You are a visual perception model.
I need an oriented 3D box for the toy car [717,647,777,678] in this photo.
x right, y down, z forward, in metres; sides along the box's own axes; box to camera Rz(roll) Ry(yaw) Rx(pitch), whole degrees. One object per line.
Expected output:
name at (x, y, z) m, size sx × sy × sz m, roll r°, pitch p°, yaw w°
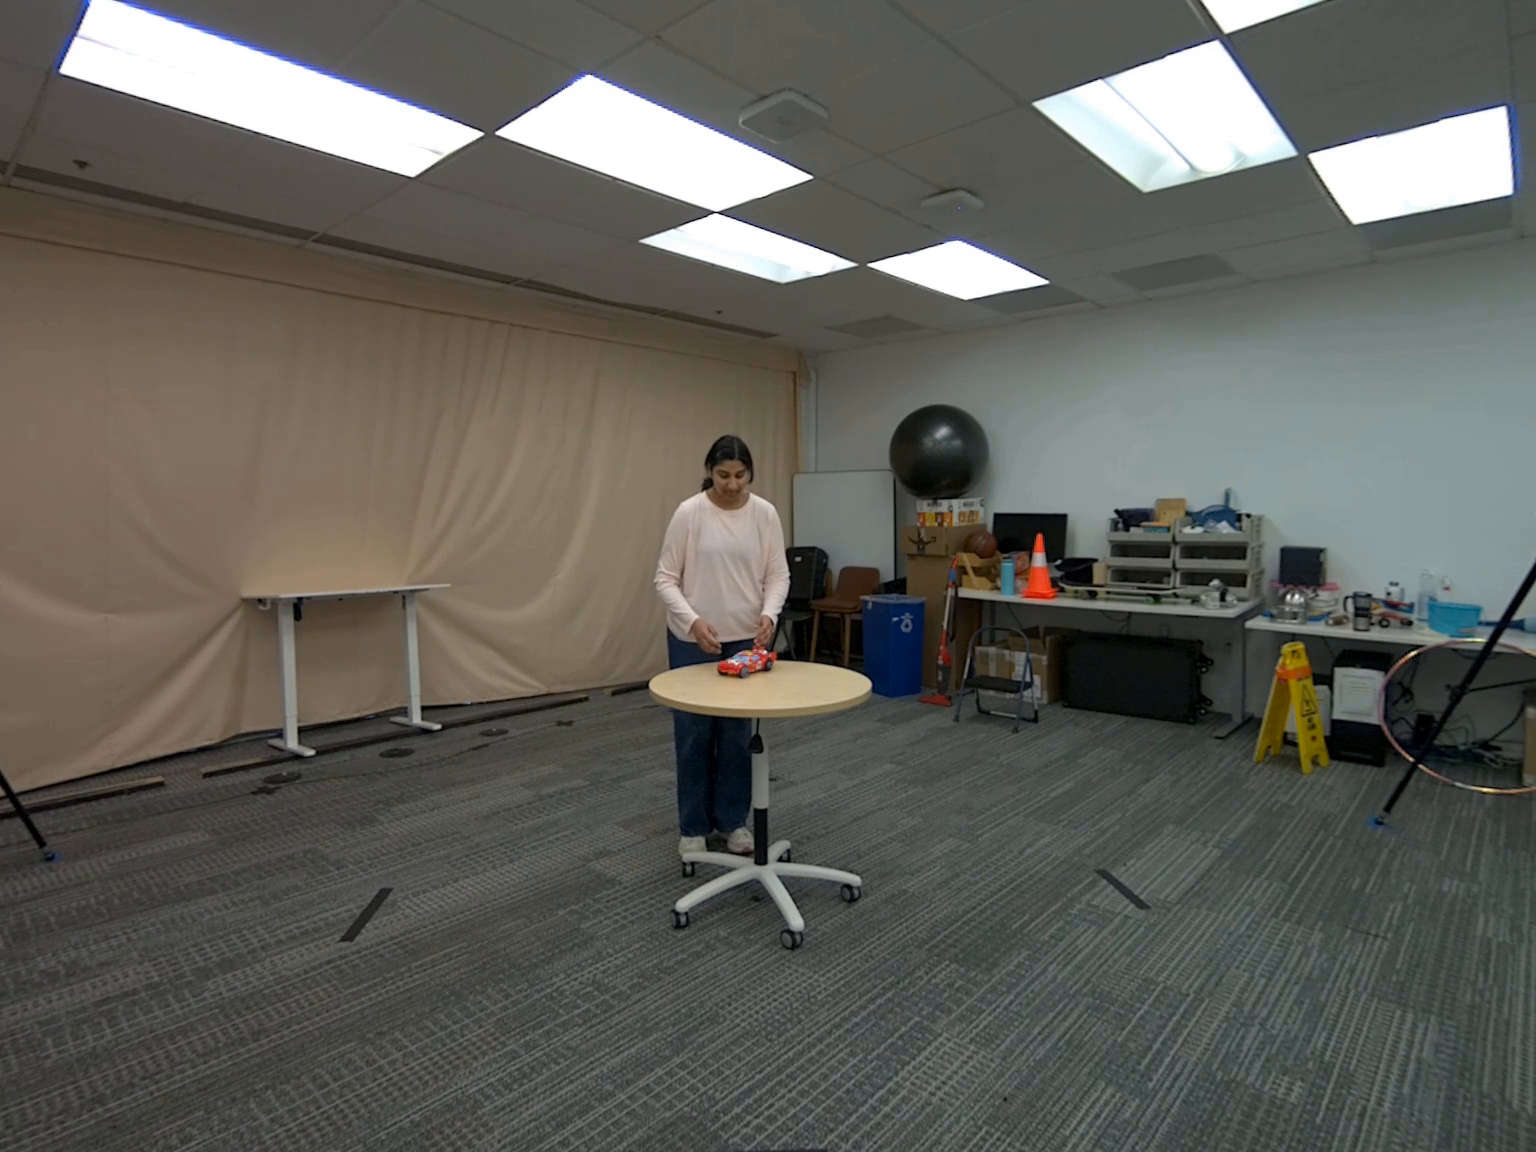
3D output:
toy car at (-0.064, 0.319, 3.081) m, size 0.134 × 0.082 × 0.249 m, roll 3°, pitch 17°, yaw 38°
